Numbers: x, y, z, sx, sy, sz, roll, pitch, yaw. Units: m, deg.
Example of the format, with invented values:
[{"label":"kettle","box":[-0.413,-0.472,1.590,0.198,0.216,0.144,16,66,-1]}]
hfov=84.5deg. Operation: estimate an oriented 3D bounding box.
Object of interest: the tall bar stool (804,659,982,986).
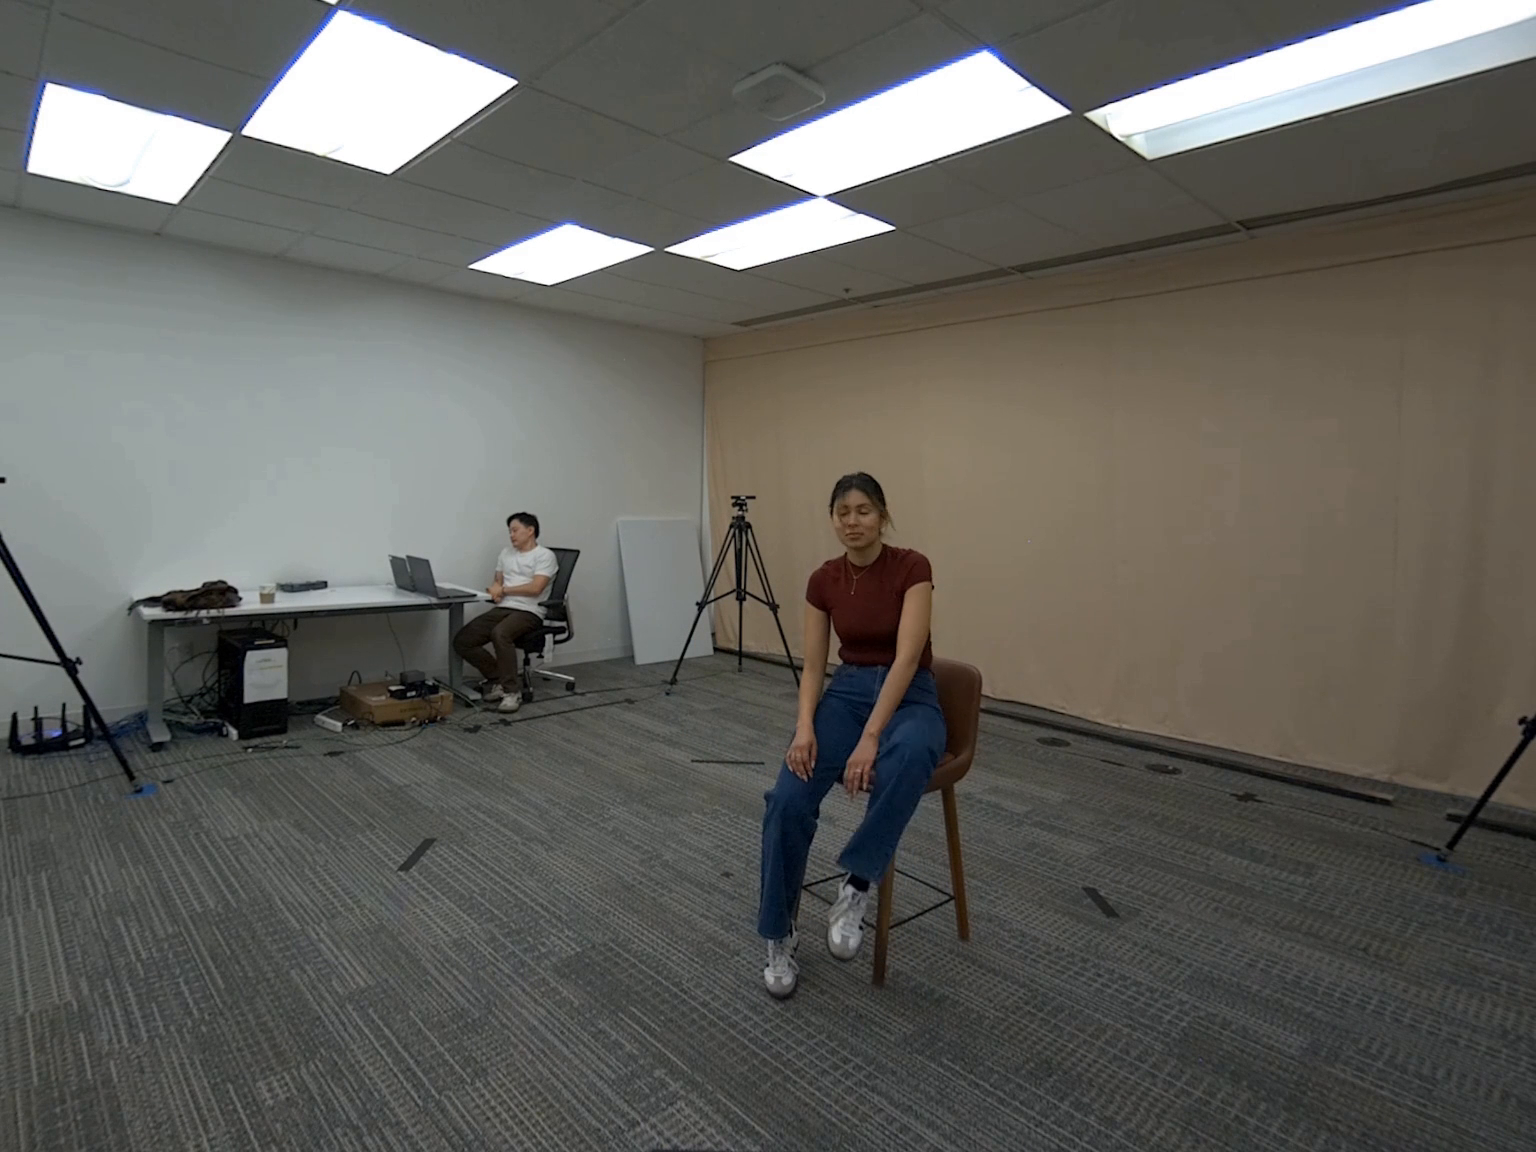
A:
[{"label":"tall bar stool","box":[0.378,0.724,2.671,0.456,0.888,0.468,1,4,-40]}]
